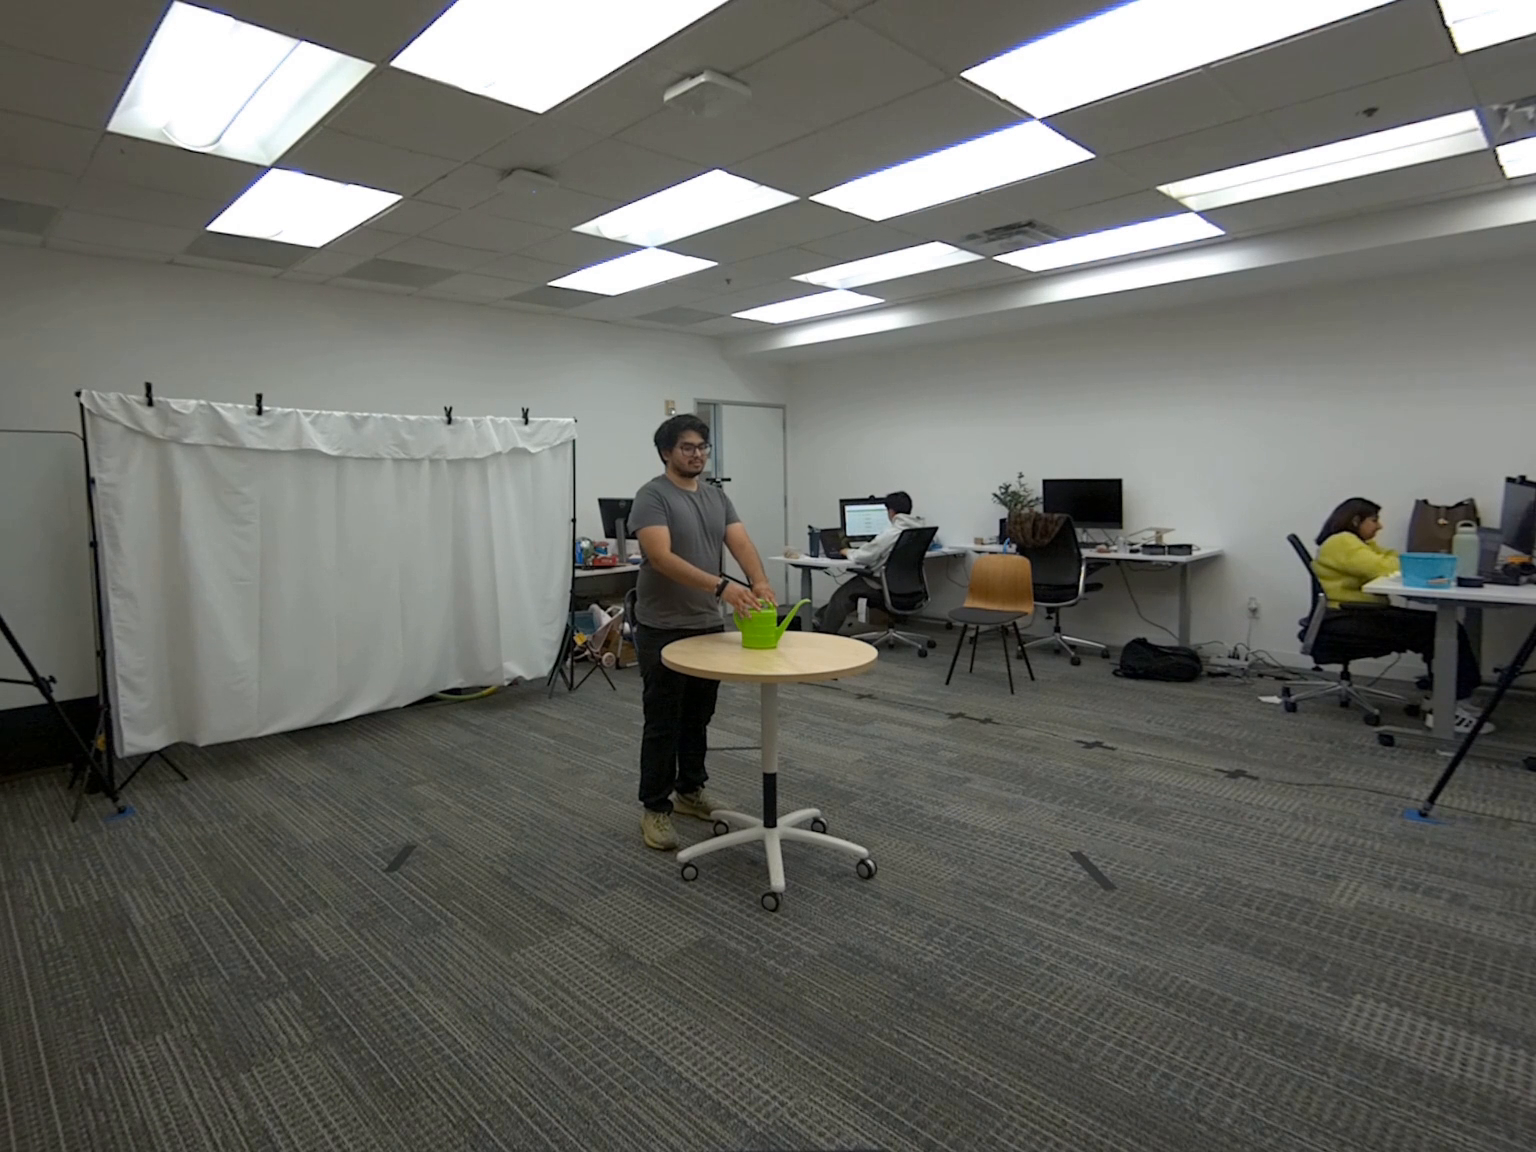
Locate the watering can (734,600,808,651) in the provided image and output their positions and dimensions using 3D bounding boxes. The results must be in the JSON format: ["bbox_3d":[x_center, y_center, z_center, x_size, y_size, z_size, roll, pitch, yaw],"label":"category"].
[{"bbox_3d":[0.009,0.177,3.079,0.286,0.177,0.095,-1,0,36],"label":"watering can"}]
